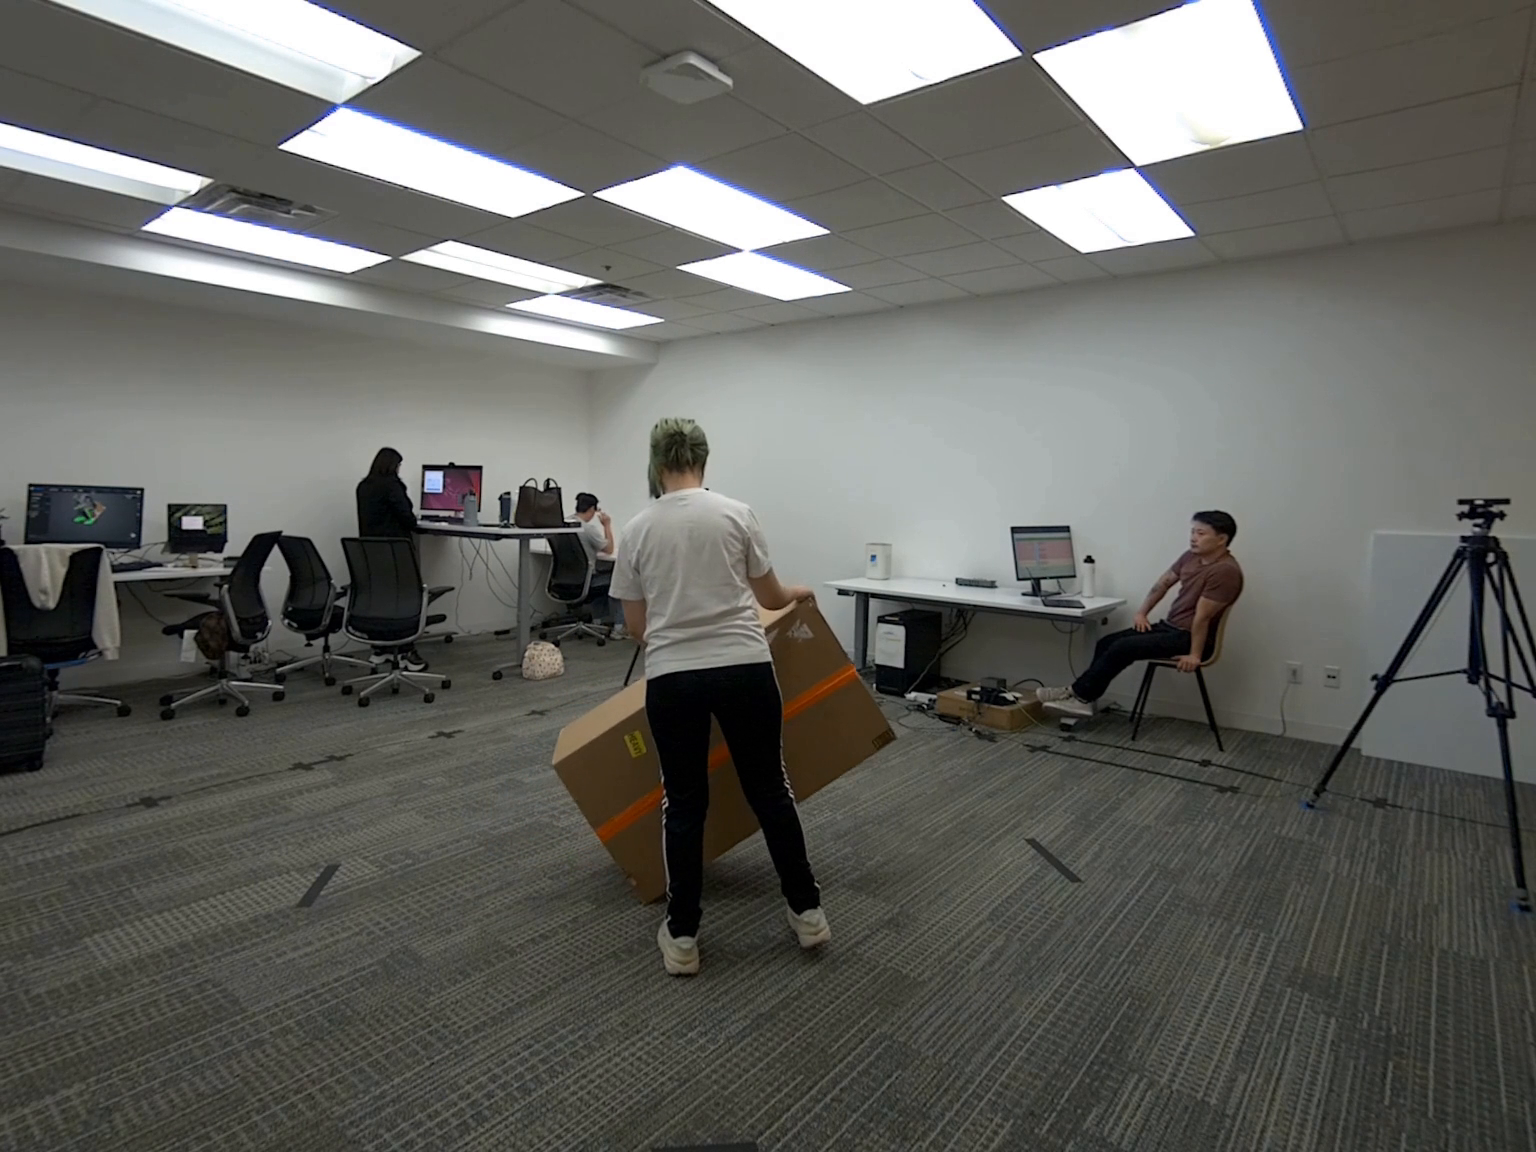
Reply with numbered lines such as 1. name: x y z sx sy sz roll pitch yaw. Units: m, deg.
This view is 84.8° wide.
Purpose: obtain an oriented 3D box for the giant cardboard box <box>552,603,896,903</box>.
1. giant cardboard box: -0.176 0.568 3.044 1.024 0.573 0.431 -32 7 -5
